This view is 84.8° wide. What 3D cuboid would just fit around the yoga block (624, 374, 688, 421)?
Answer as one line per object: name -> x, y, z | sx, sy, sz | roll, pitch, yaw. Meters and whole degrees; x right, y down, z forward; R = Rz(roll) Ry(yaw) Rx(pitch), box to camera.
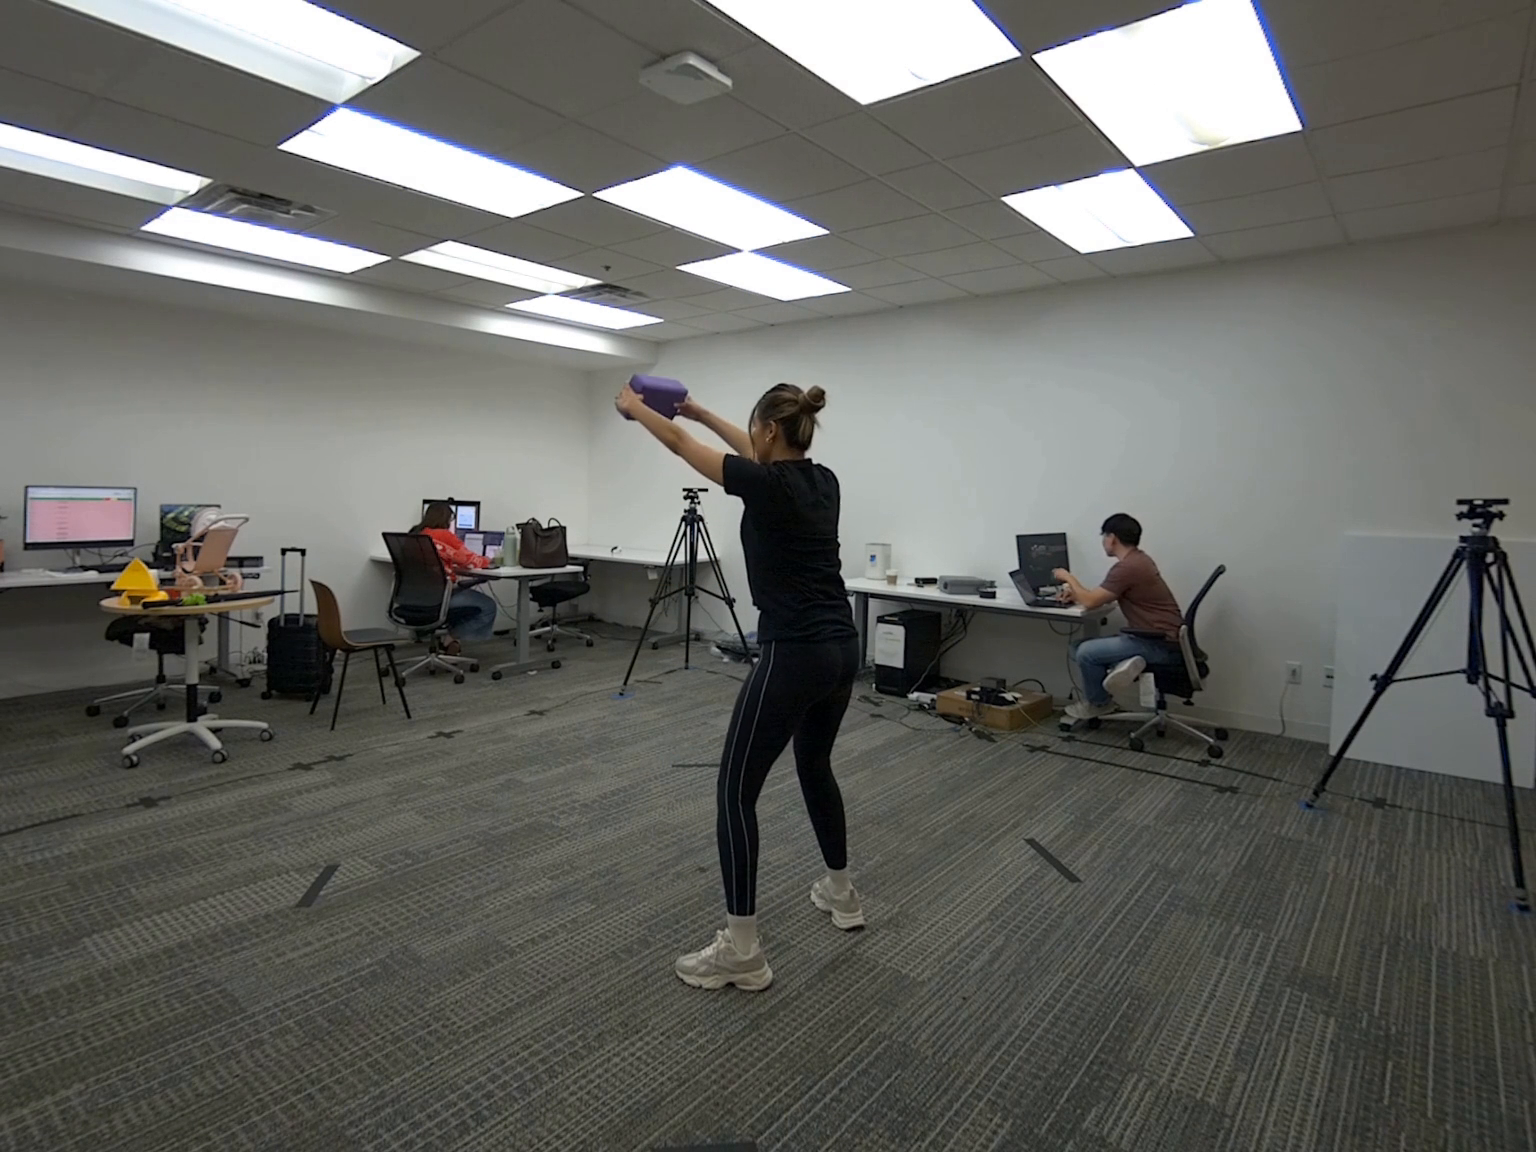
yoga block -> -0.405, -0.605, 2.936 | 0.079, 0.148, 0.223 | 47, 29, 24
